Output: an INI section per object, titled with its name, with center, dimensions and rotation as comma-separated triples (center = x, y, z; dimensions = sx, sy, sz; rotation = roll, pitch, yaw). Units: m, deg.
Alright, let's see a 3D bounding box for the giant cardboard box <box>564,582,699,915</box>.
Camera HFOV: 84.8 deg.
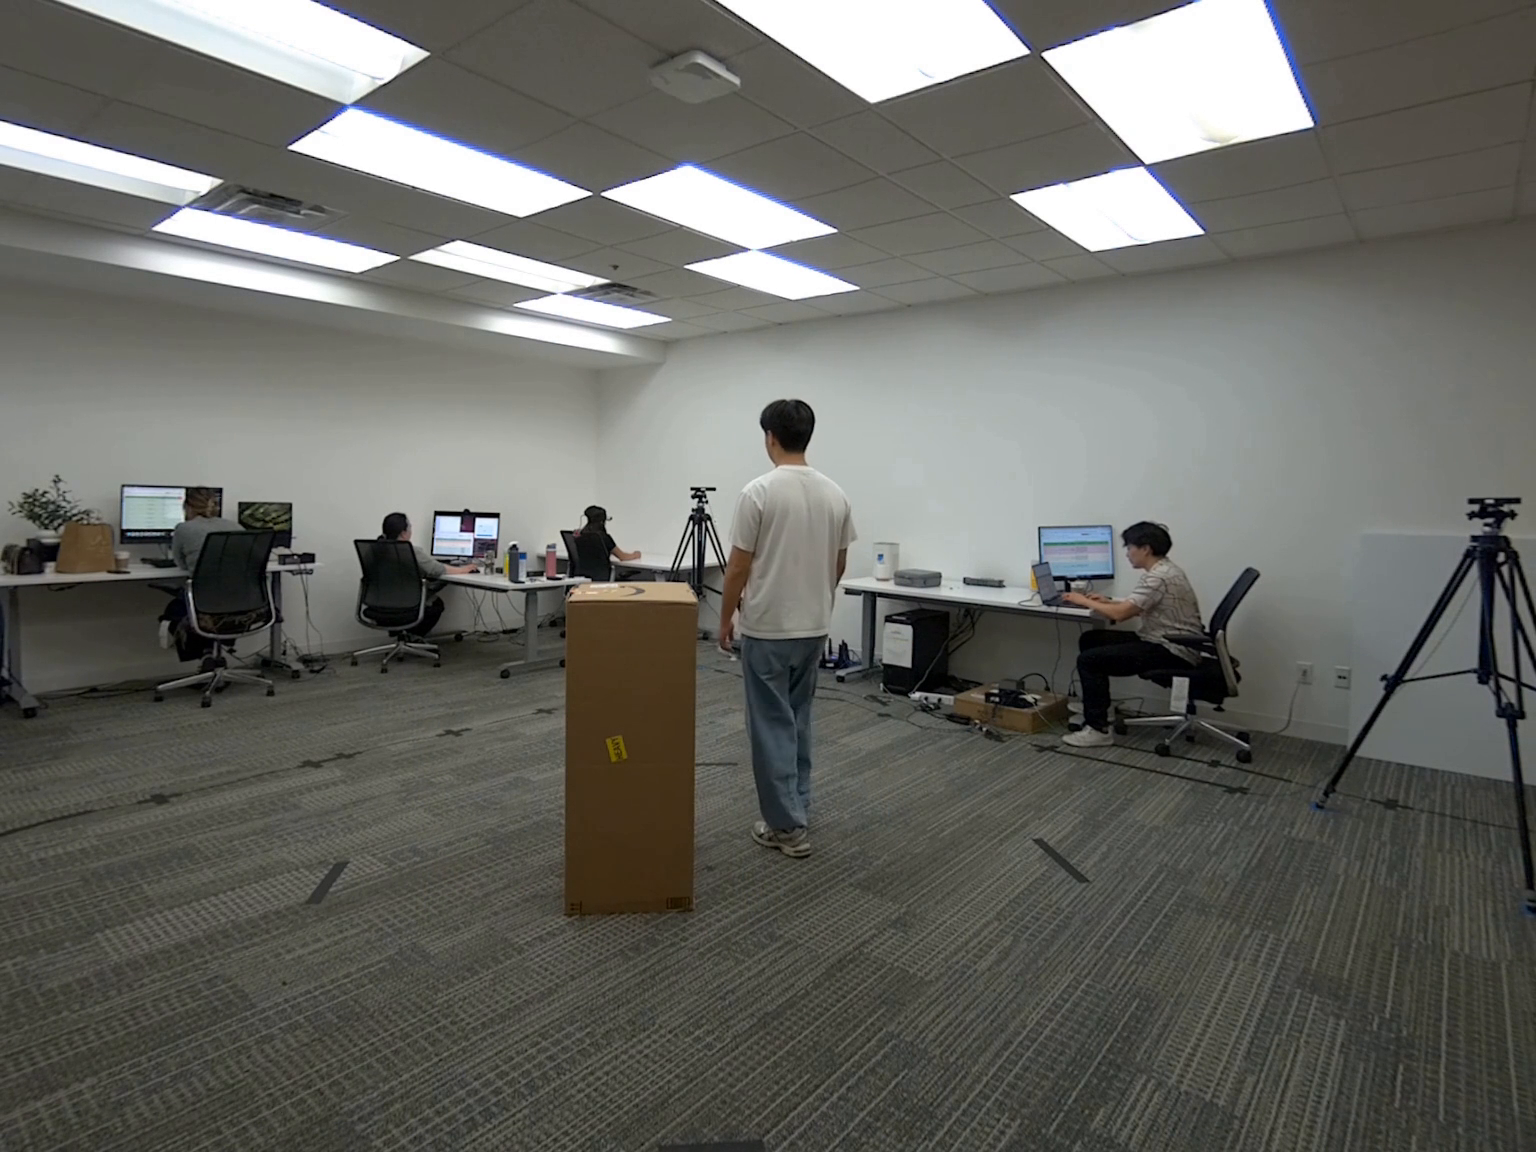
[giant cardboard box]
center = -0.499, 0.561, 3.021
dimensions = 0.423, 1.023, 0.584
rotation = 0, 3, -8
